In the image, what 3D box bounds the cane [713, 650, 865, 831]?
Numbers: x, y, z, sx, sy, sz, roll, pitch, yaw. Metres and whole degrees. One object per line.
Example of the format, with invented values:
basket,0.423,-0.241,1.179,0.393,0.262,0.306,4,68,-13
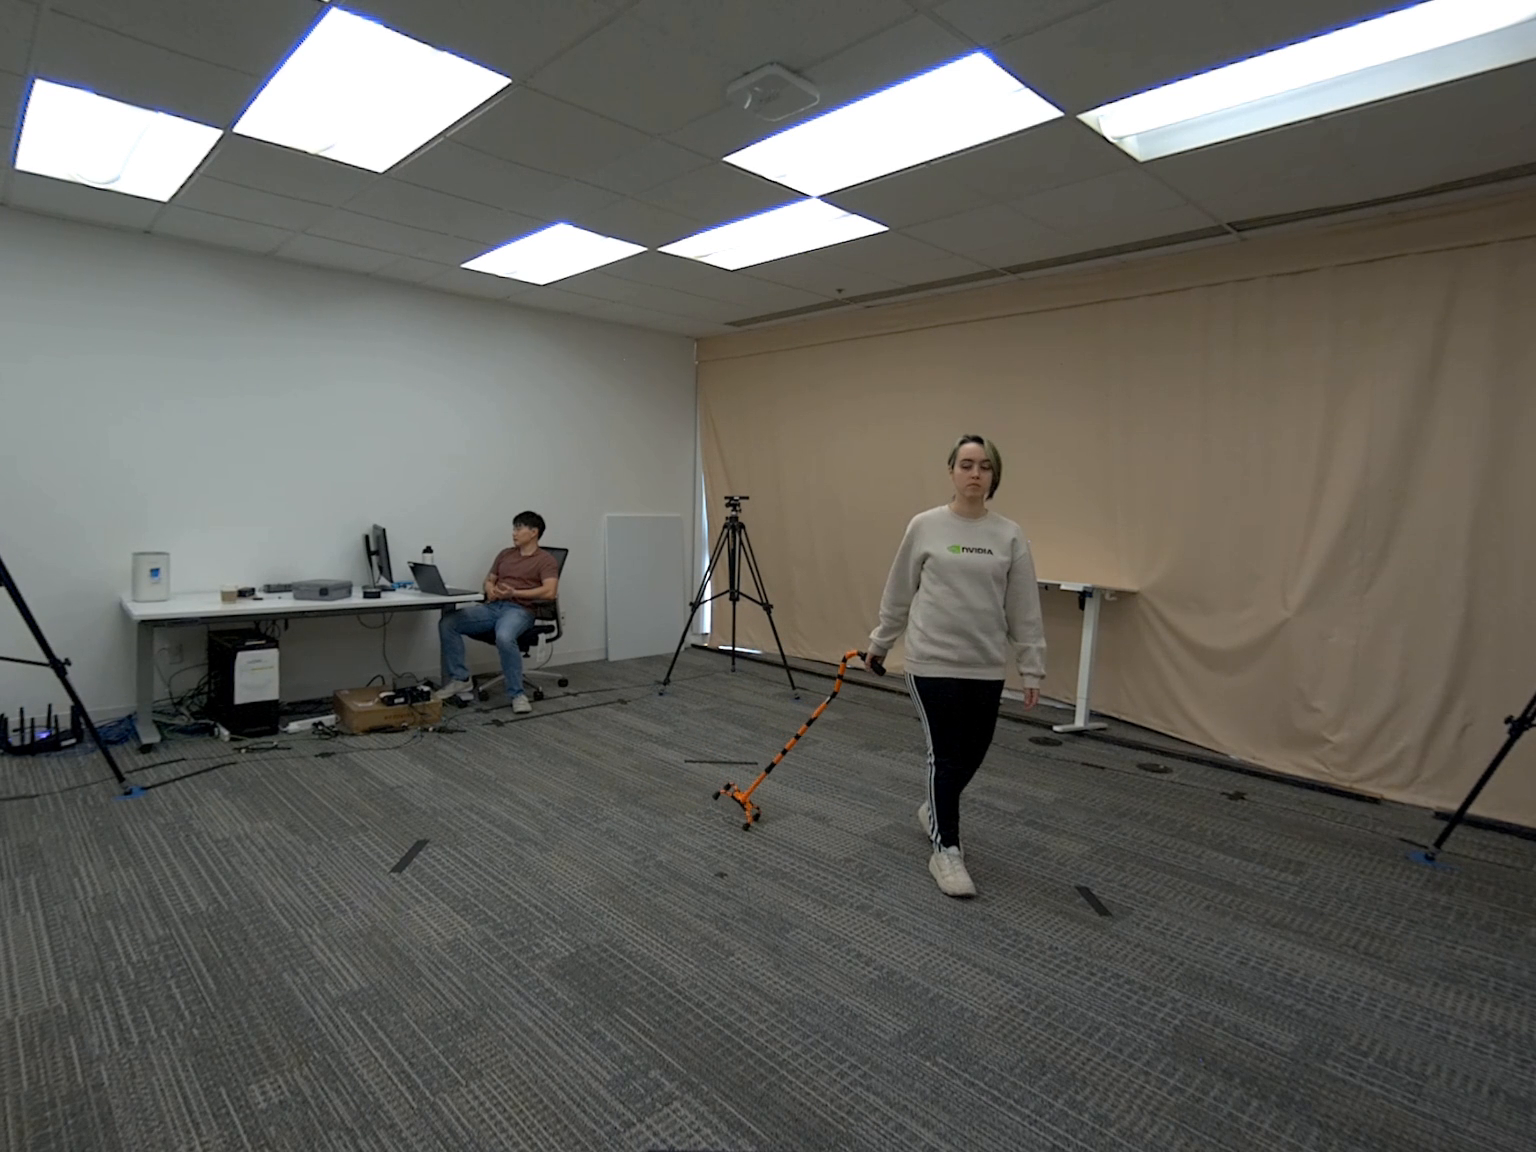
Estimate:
cane,0.115,0.656,3.491,0.210,0.906,0.149,43,16,17
